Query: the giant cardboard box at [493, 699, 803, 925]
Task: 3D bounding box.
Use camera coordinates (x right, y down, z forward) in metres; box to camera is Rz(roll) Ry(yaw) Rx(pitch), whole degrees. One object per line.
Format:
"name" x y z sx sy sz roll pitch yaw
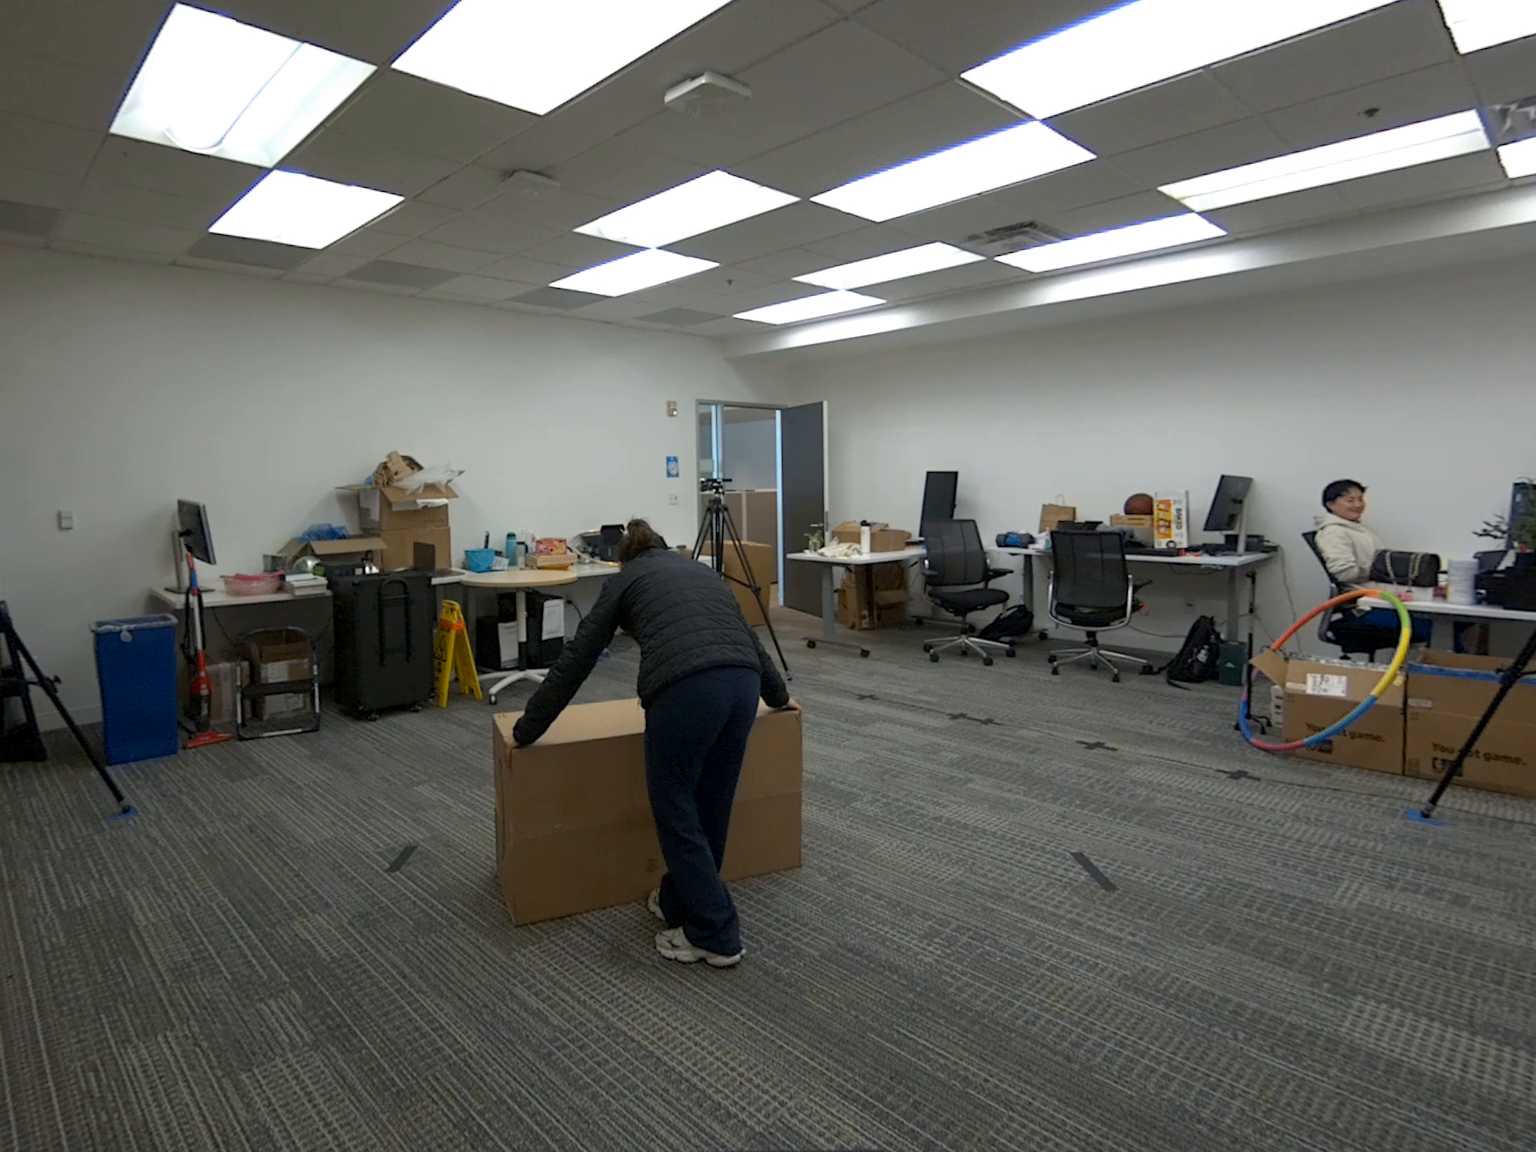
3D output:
"giant cardboard box" -0.429 0.766 3.068 1.006 0.582 0.457 -3 5 -24
